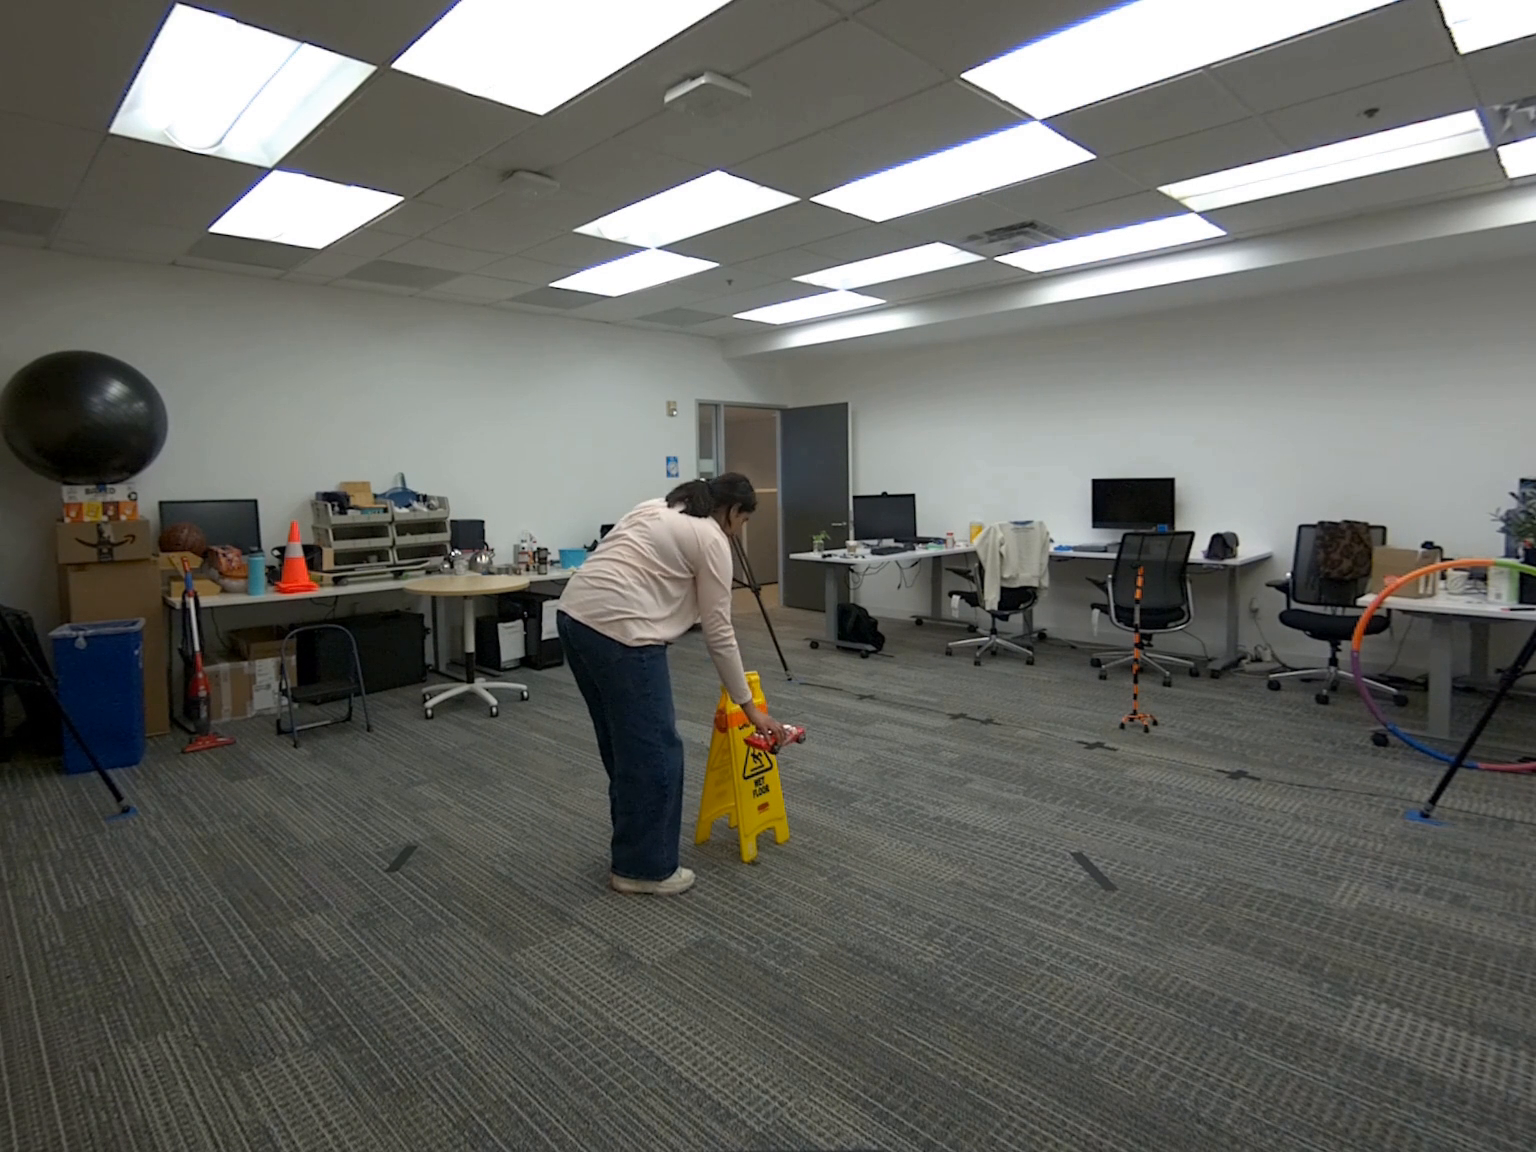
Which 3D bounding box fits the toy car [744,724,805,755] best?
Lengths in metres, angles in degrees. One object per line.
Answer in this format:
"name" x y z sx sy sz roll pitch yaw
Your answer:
"toy car" 0.019 0.570 3.005 0.135 0.083 0.247 11 4 41
